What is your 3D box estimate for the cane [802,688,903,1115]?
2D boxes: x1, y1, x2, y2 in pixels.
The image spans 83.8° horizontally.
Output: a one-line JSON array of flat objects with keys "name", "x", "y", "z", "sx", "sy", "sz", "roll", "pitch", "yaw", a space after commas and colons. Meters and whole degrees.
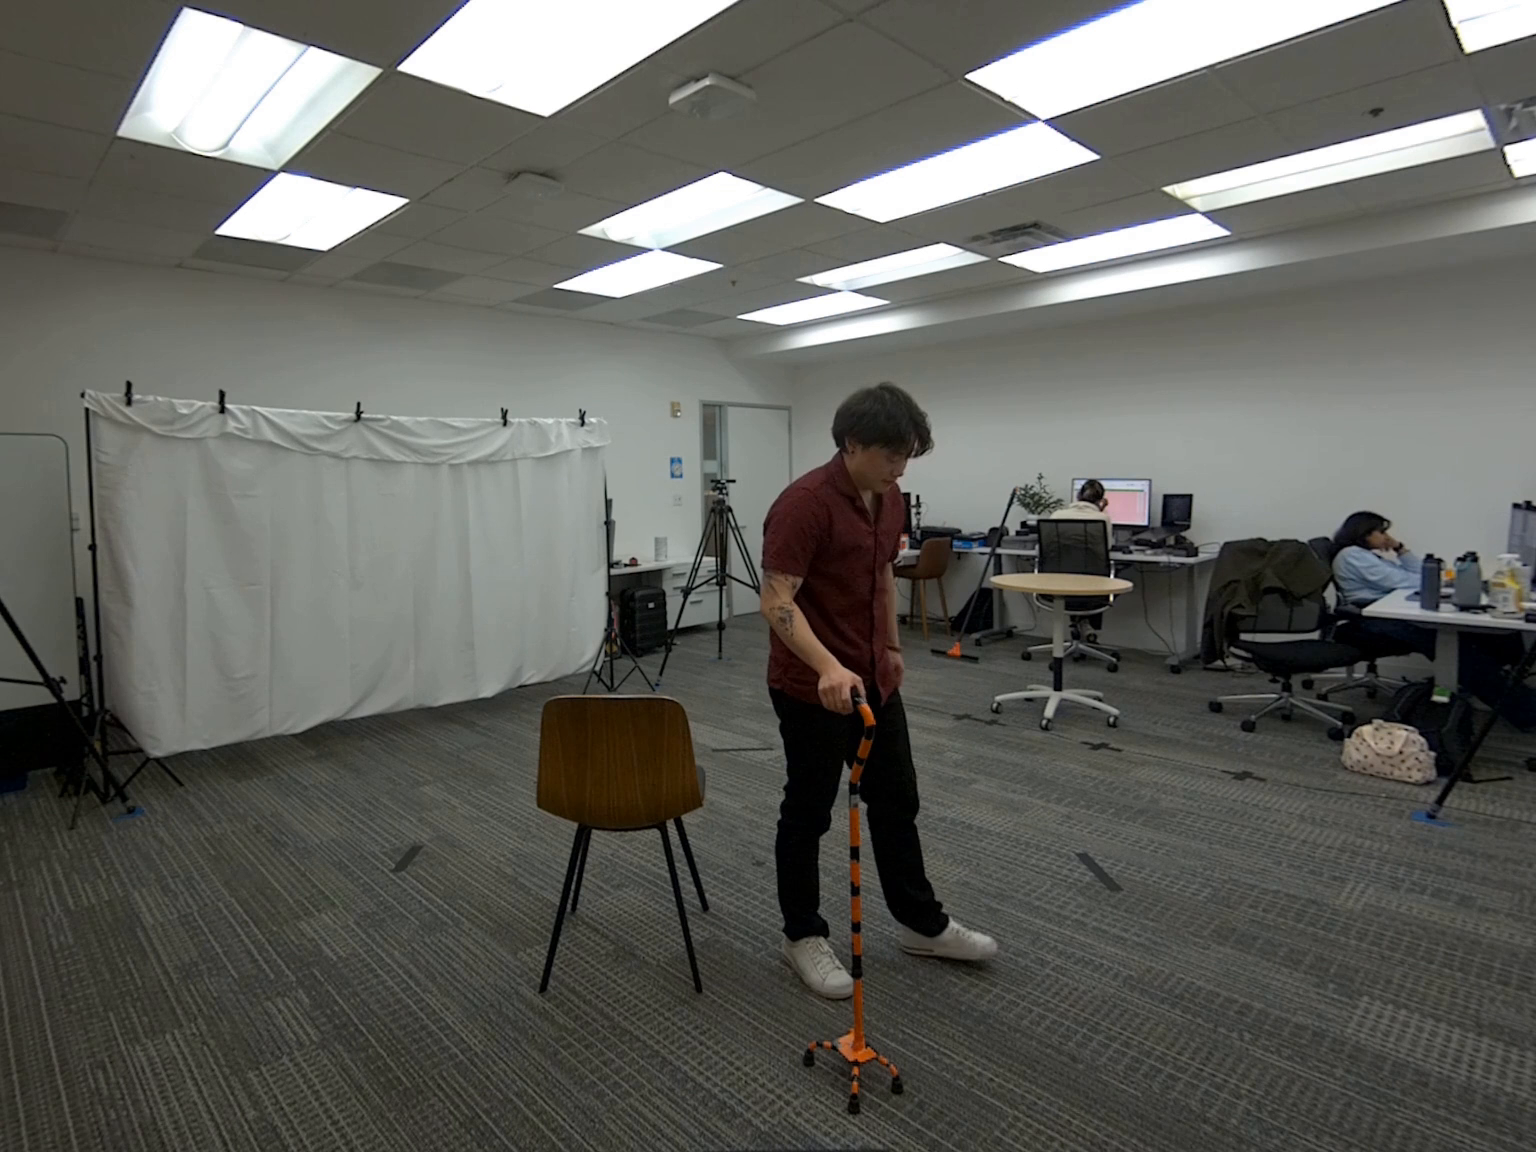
[{"name": "cane", "x": 0.194, "y": 0.730, "z": 1.955, "sx": 0.148, "sy": 0.904, "sz": 0.212, "roll": -4, "pitch": 5, "yaw": -29}]
